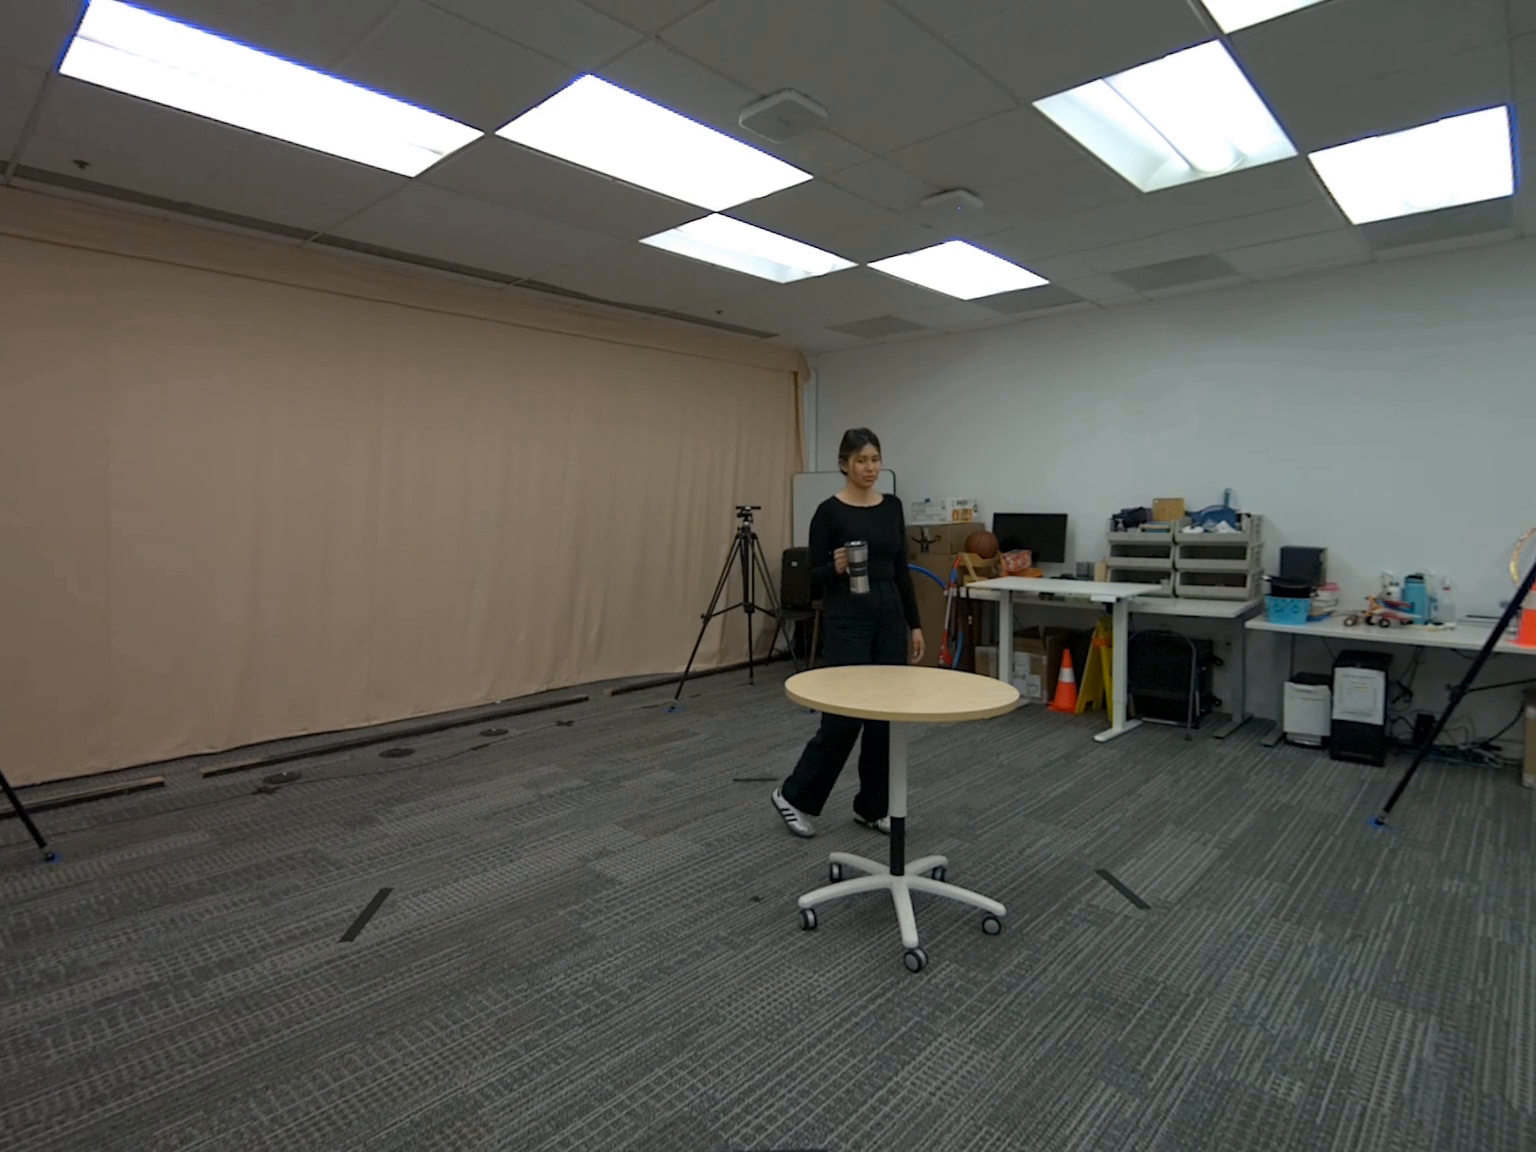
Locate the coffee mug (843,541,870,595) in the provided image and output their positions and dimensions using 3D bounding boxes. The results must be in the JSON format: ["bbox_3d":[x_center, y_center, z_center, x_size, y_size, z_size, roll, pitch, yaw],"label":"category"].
[{"bbox_3d":[0.324,-0.031,3.267,0.126,0.201,0.086,4,16,37],"label":"coffee mug"}]
